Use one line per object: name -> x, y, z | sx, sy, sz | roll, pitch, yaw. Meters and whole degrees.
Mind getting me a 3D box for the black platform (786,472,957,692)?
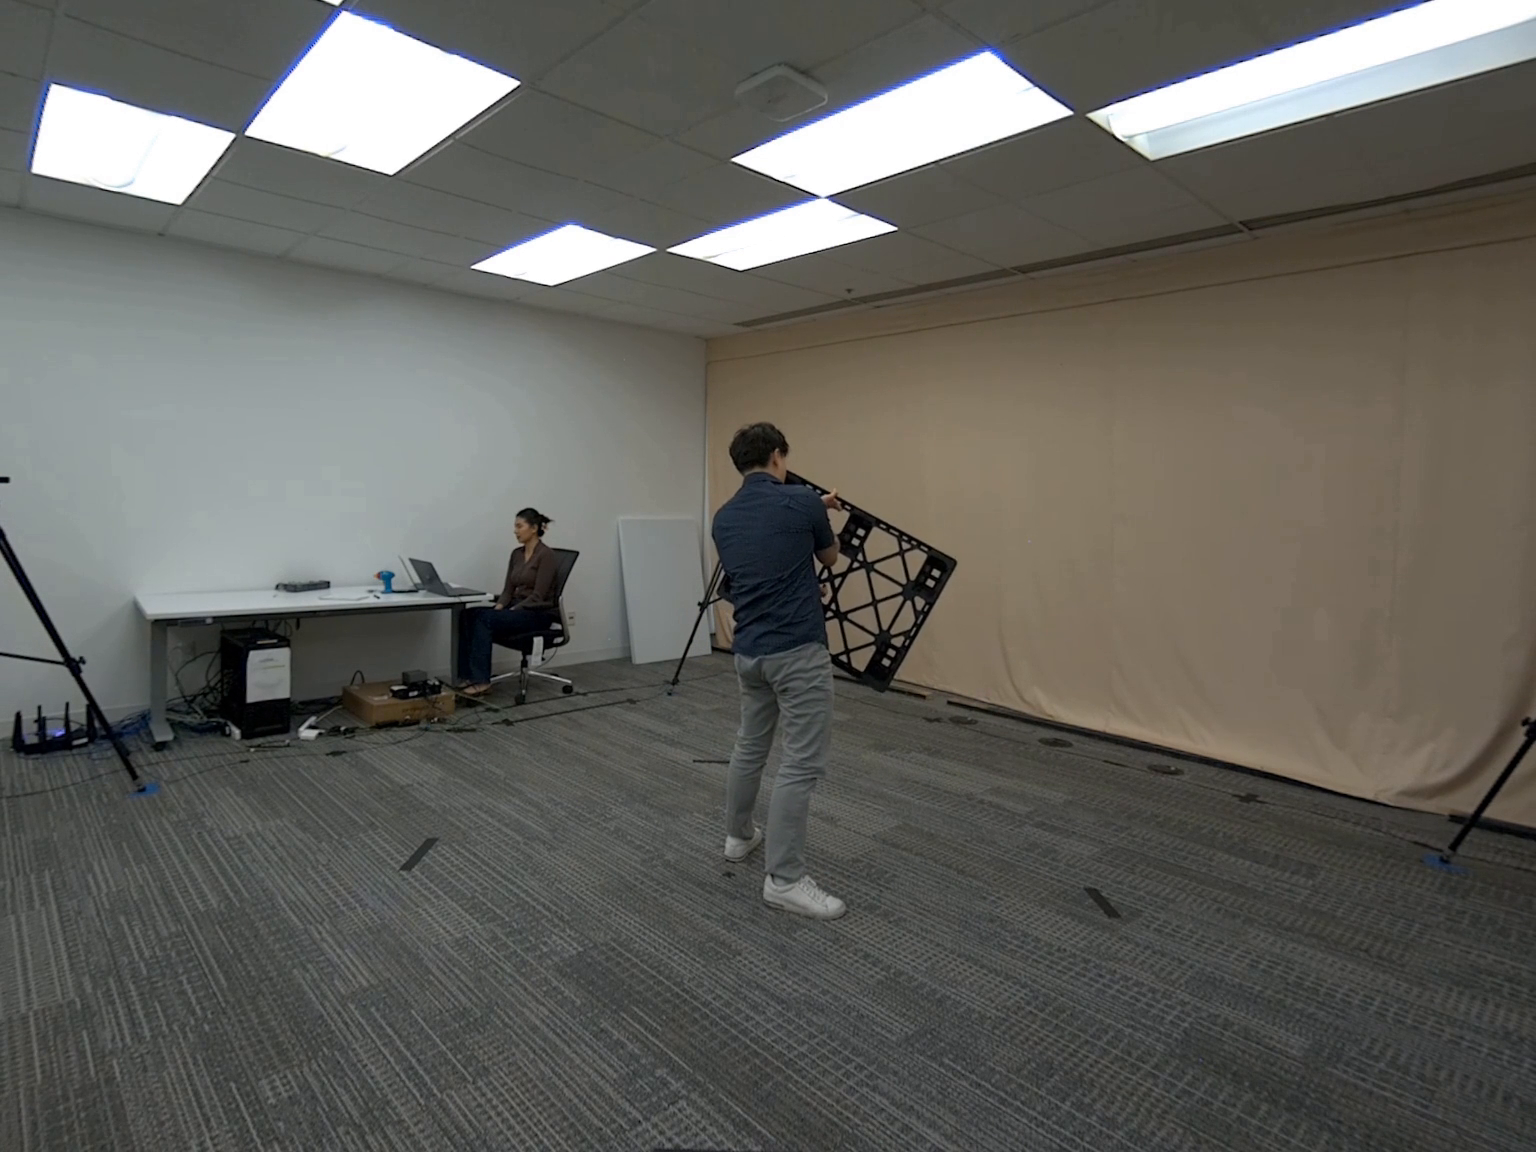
black platform -> 0.263, 0.012, 3.413 | 0.818, 0.603, 0.141 | 31, 9, 15
